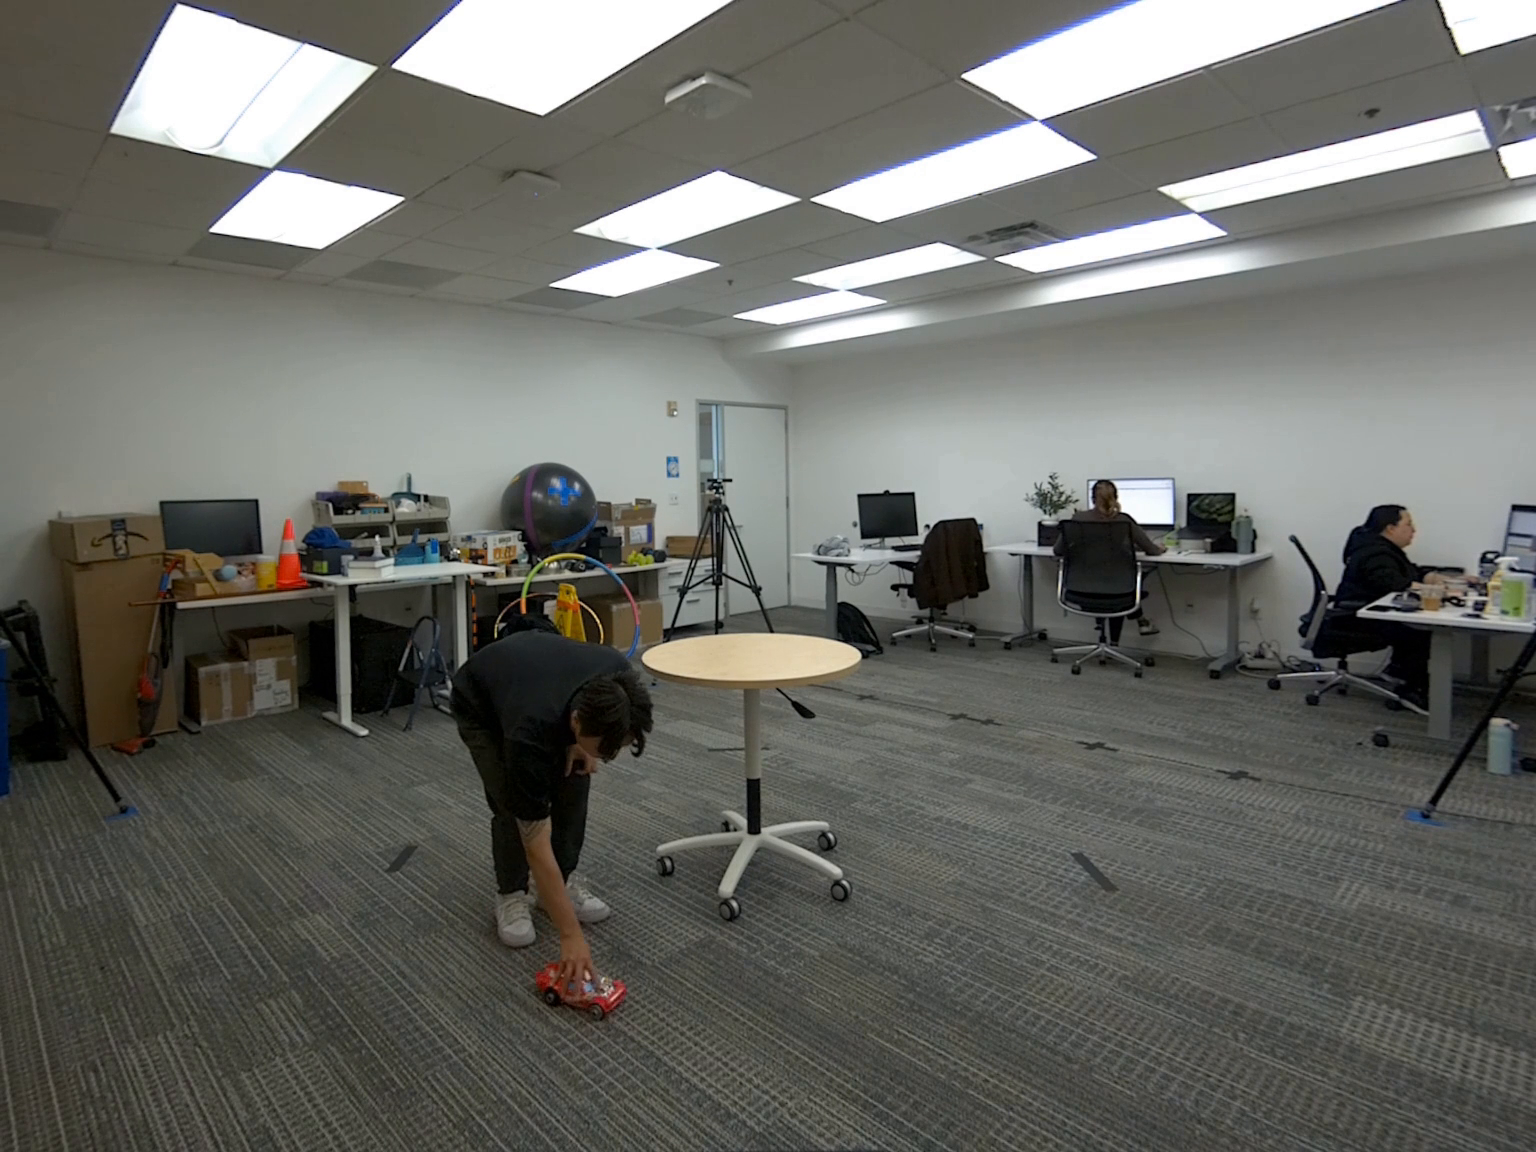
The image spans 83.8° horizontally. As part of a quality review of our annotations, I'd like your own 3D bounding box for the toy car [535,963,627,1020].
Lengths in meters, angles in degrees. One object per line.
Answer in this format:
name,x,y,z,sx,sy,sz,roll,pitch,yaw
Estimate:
toy car,-0.505,1.119,2.316,0.261,0.083,0.128,12,9,23
